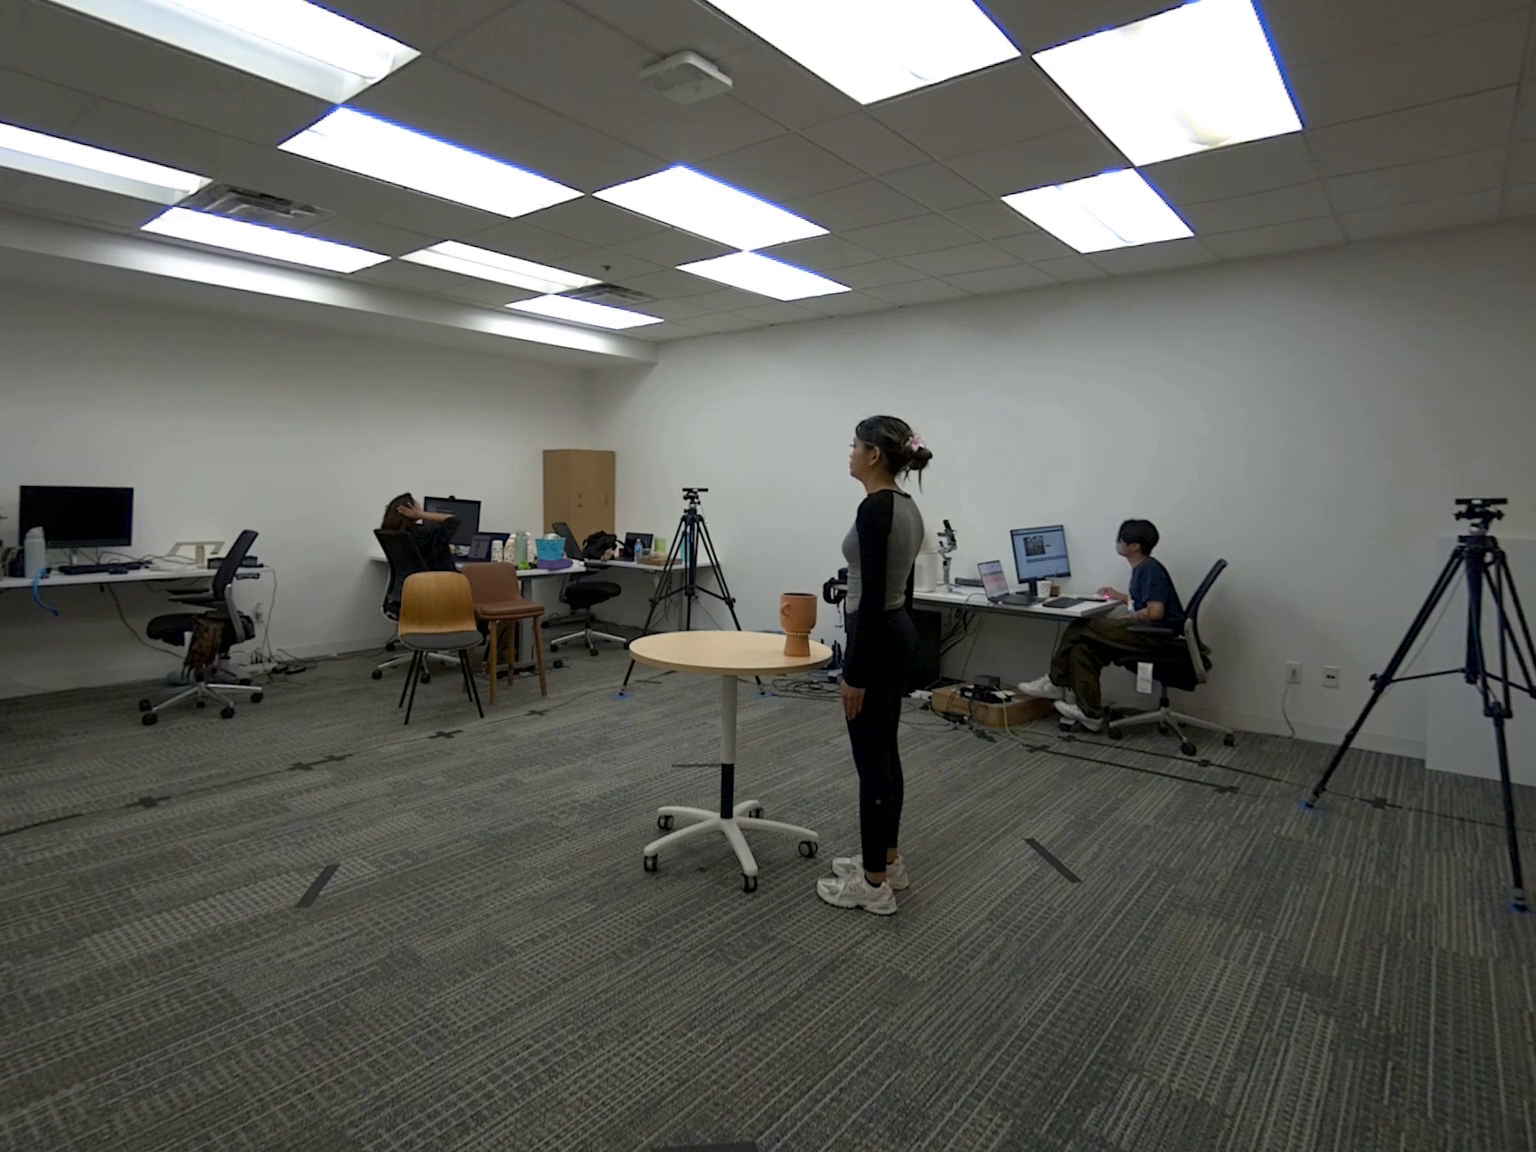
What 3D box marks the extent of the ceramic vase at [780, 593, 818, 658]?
[{"bbox_3d":[0.105,0.176,3.104,0.157,0.219,0.136,1,3,-9],"label":"ceramic vase"}]
